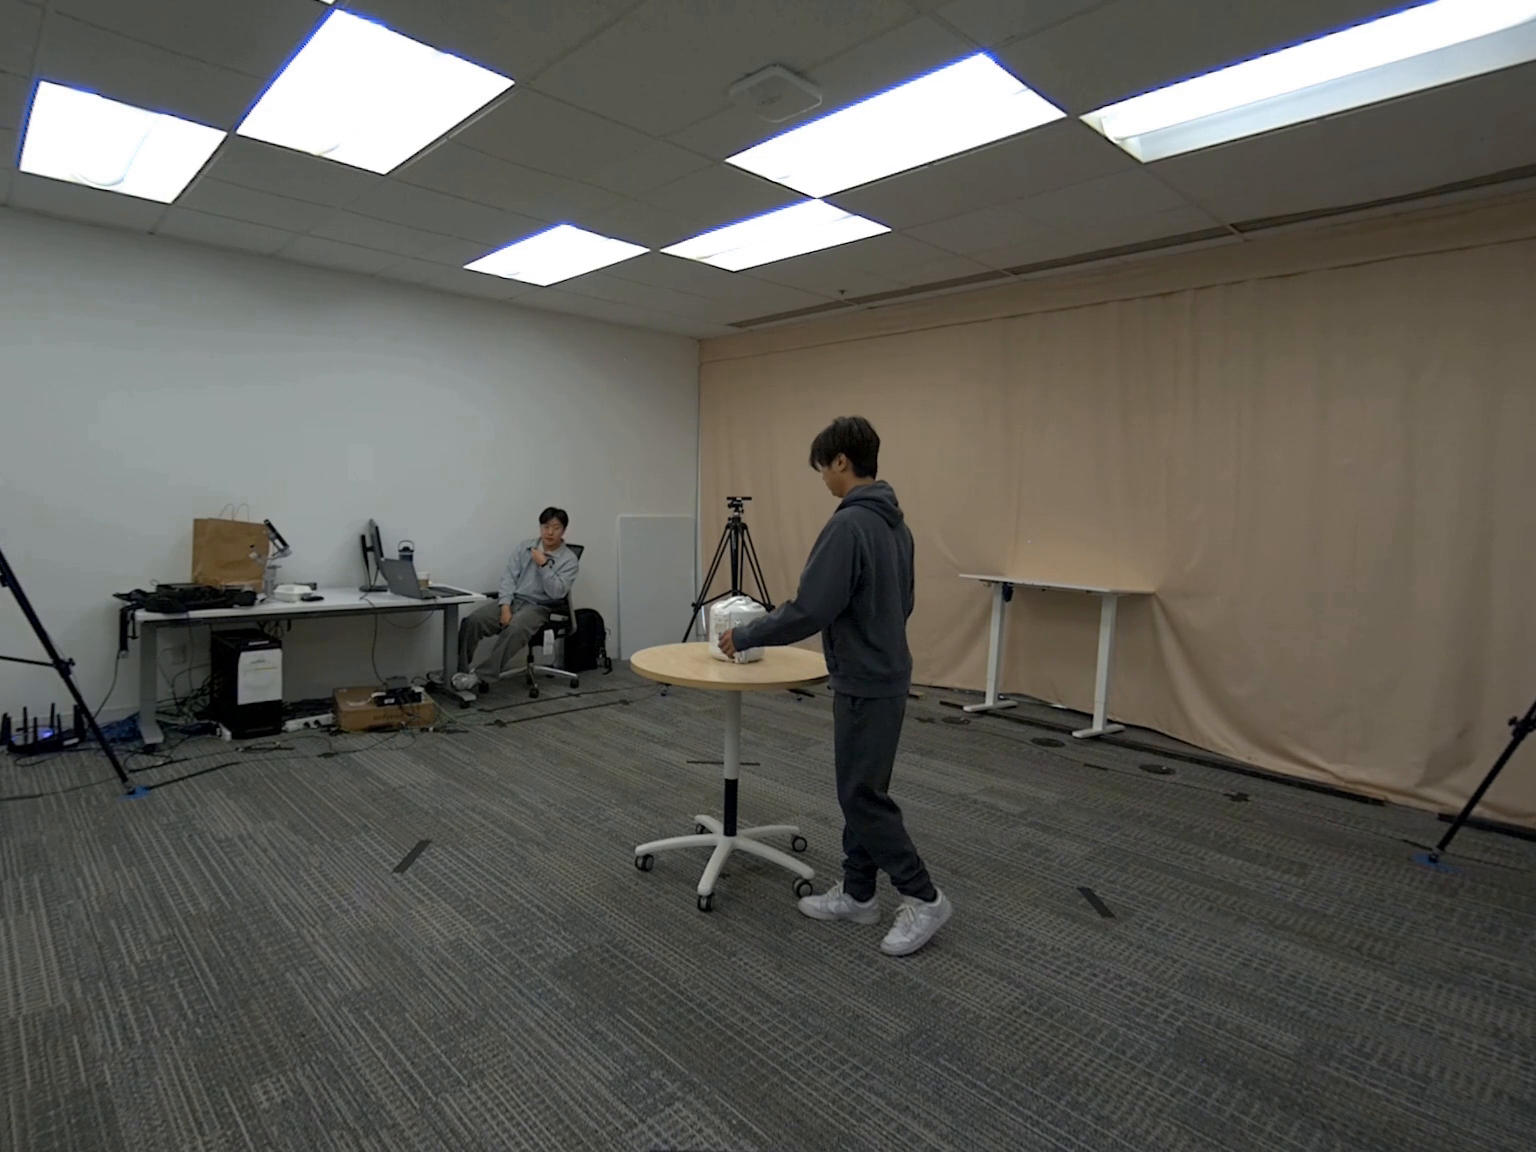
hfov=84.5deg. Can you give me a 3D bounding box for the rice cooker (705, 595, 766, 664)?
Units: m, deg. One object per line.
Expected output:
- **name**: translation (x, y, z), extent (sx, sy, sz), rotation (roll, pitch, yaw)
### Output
- **rice cooker**: translation (-0.118, 0.192, 3.127), extent (0.223, 0.232, 0.216), rotation (6, 4, 34)
